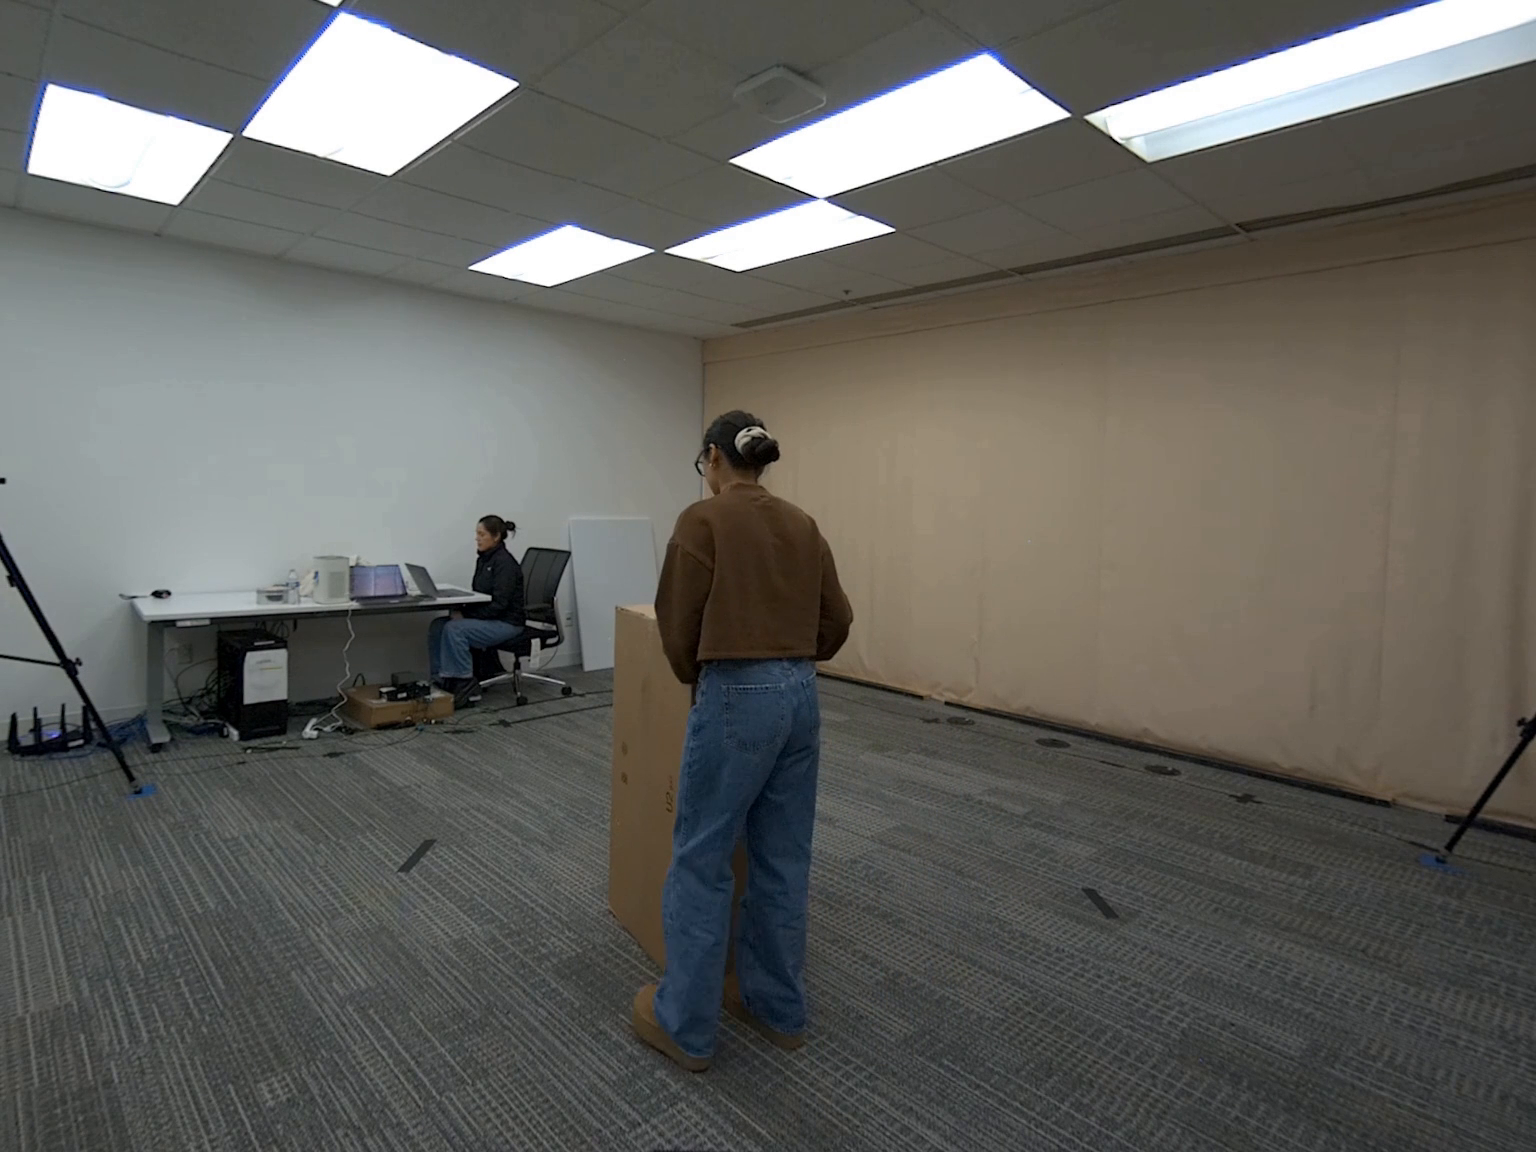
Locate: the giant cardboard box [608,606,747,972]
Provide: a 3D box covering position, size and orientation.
[{"bbox_3d":[-0.203,0.636,2.682,0.417,1.024,0.590,0,3,-31],"label":"giant cardboard box"}]
